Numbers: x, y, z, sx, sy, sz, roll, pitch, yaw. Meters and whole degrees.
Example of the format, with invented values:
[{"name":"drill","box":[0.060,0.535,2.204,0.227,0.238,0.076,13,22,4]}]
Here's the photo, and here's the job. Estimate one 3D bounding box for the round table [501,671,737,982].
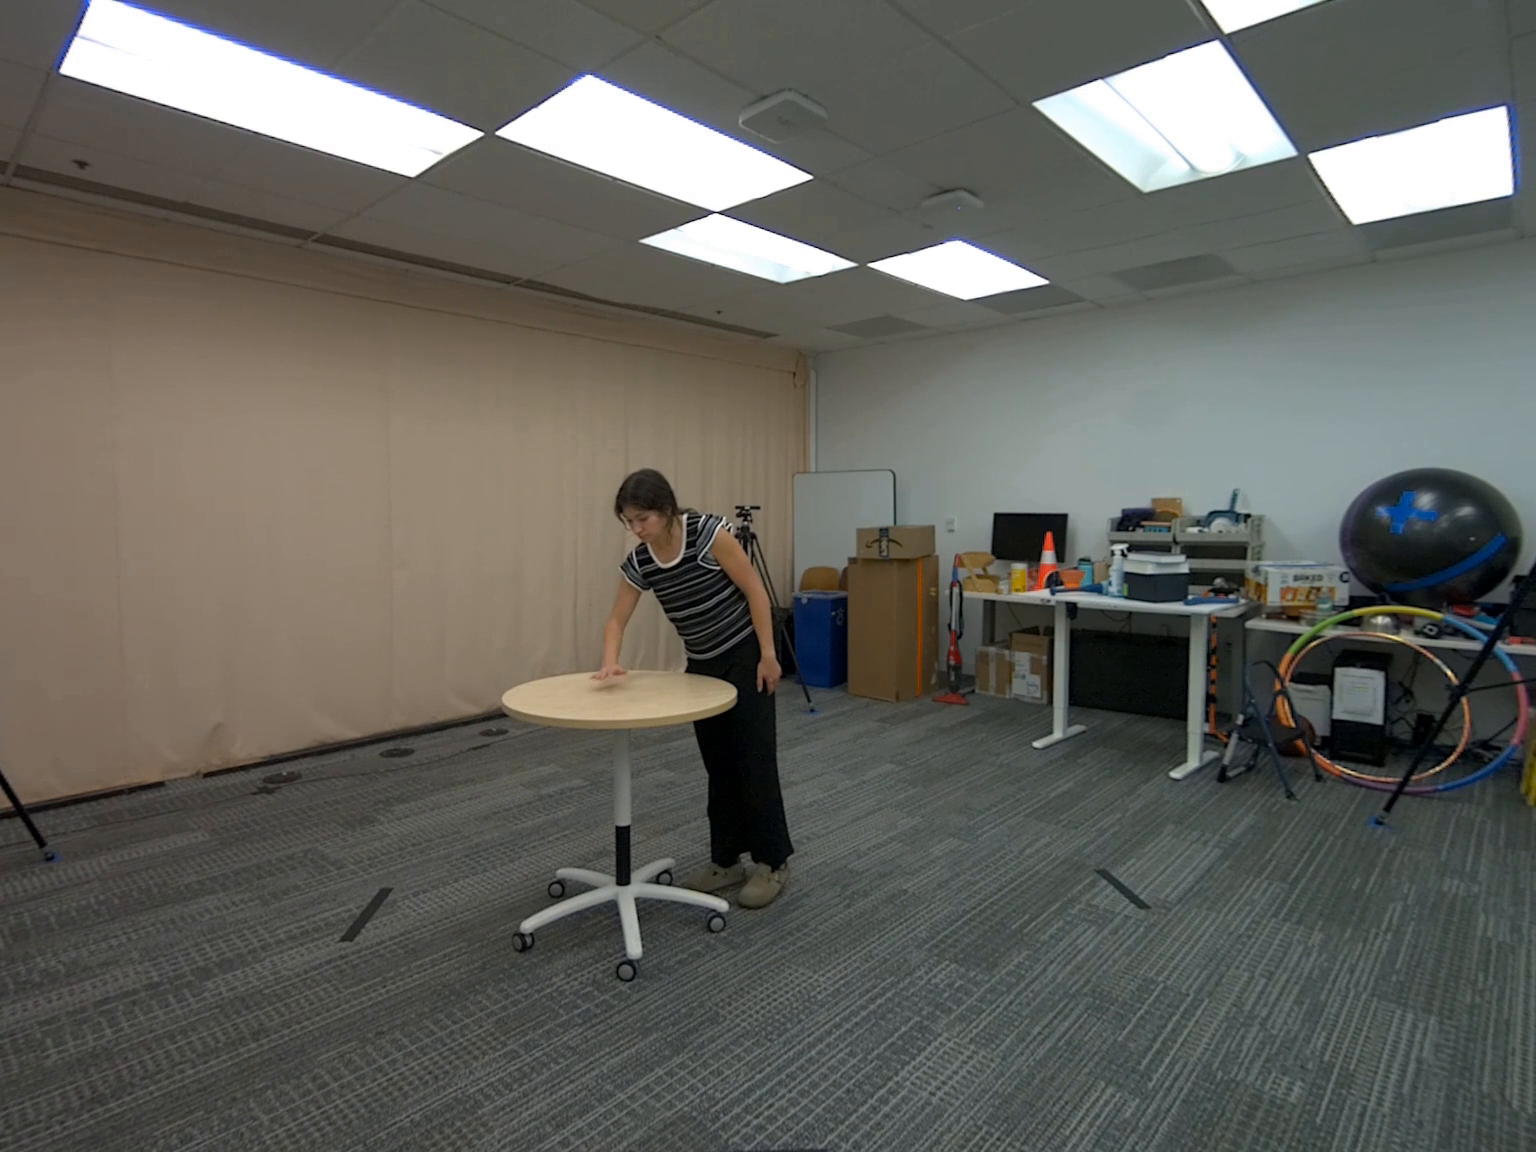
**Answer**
[{"name":"round table","box":[-0.484,0.777,2.783,0.763,0.792,0.766,-1,3,-2]}]
